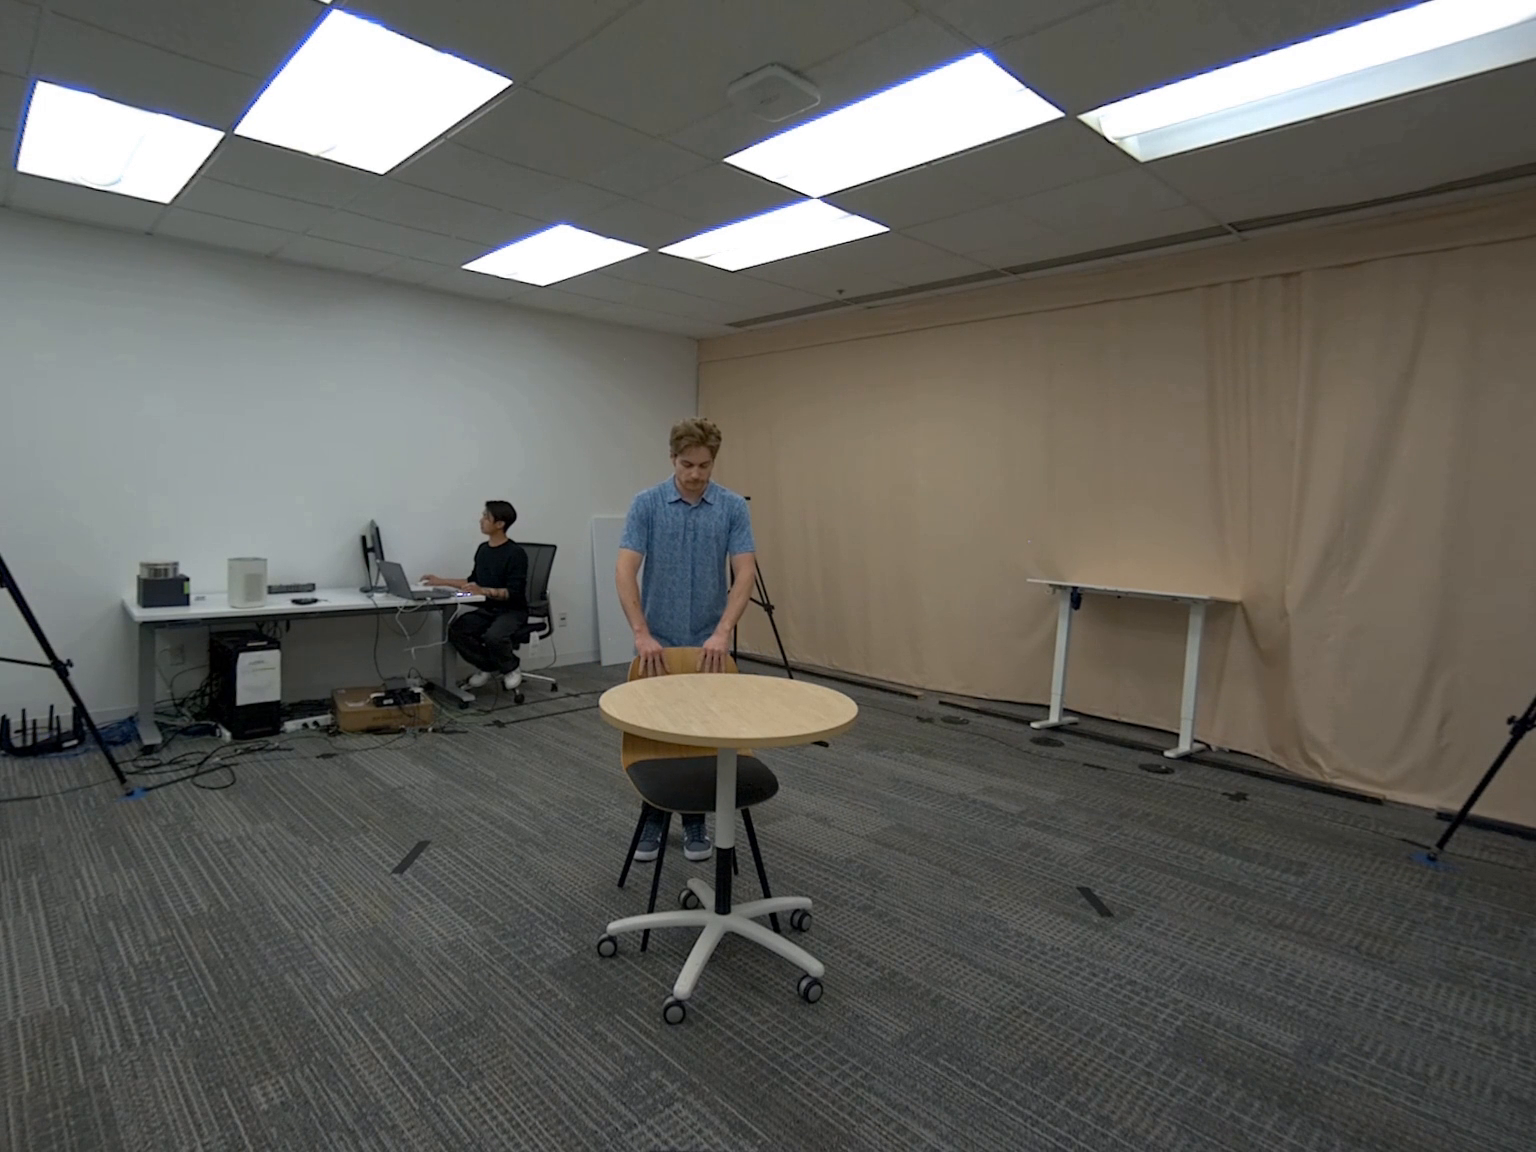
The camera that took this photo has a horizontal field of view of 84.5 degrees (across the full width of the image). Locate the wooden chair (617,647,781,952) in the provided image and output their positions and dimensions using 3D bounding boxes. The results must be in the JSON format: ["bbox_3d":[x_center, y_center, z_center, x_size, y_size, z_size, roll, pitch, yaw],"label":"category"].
[{"bbox_3d":[-0.244,0.701,2.814,0.471,0.878,0.530,1,-1,-18],"label":"wooden chair"}]
